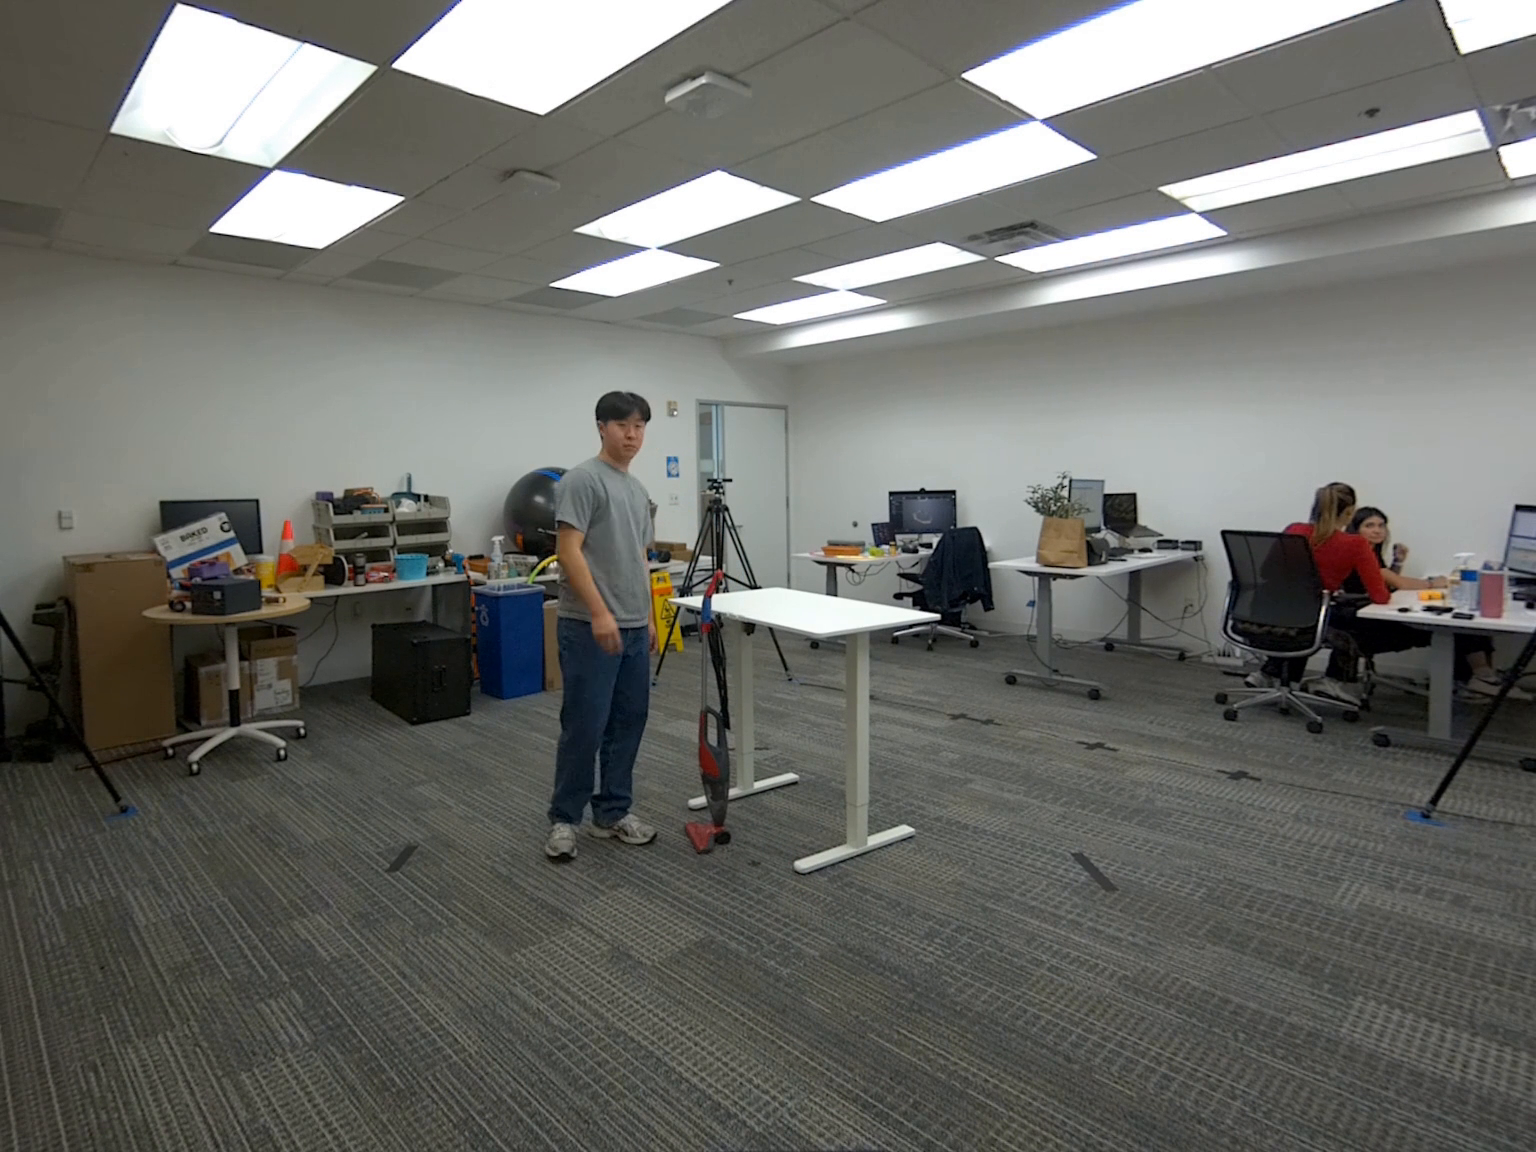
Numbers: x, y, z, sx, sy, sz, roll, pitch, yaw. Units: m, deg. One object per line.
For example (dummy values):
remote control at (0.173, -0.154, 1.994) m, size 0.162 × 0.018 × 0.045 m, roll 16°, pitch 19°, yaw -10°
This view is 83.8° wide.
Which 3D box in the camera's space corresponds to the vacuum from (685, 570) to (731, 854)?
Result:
vacuum at (-0.207, 0.502, 3.296) m, size 0.142 × 1.045 × 0.256 m, roll 2°, pitch 5°, yaw -11°
